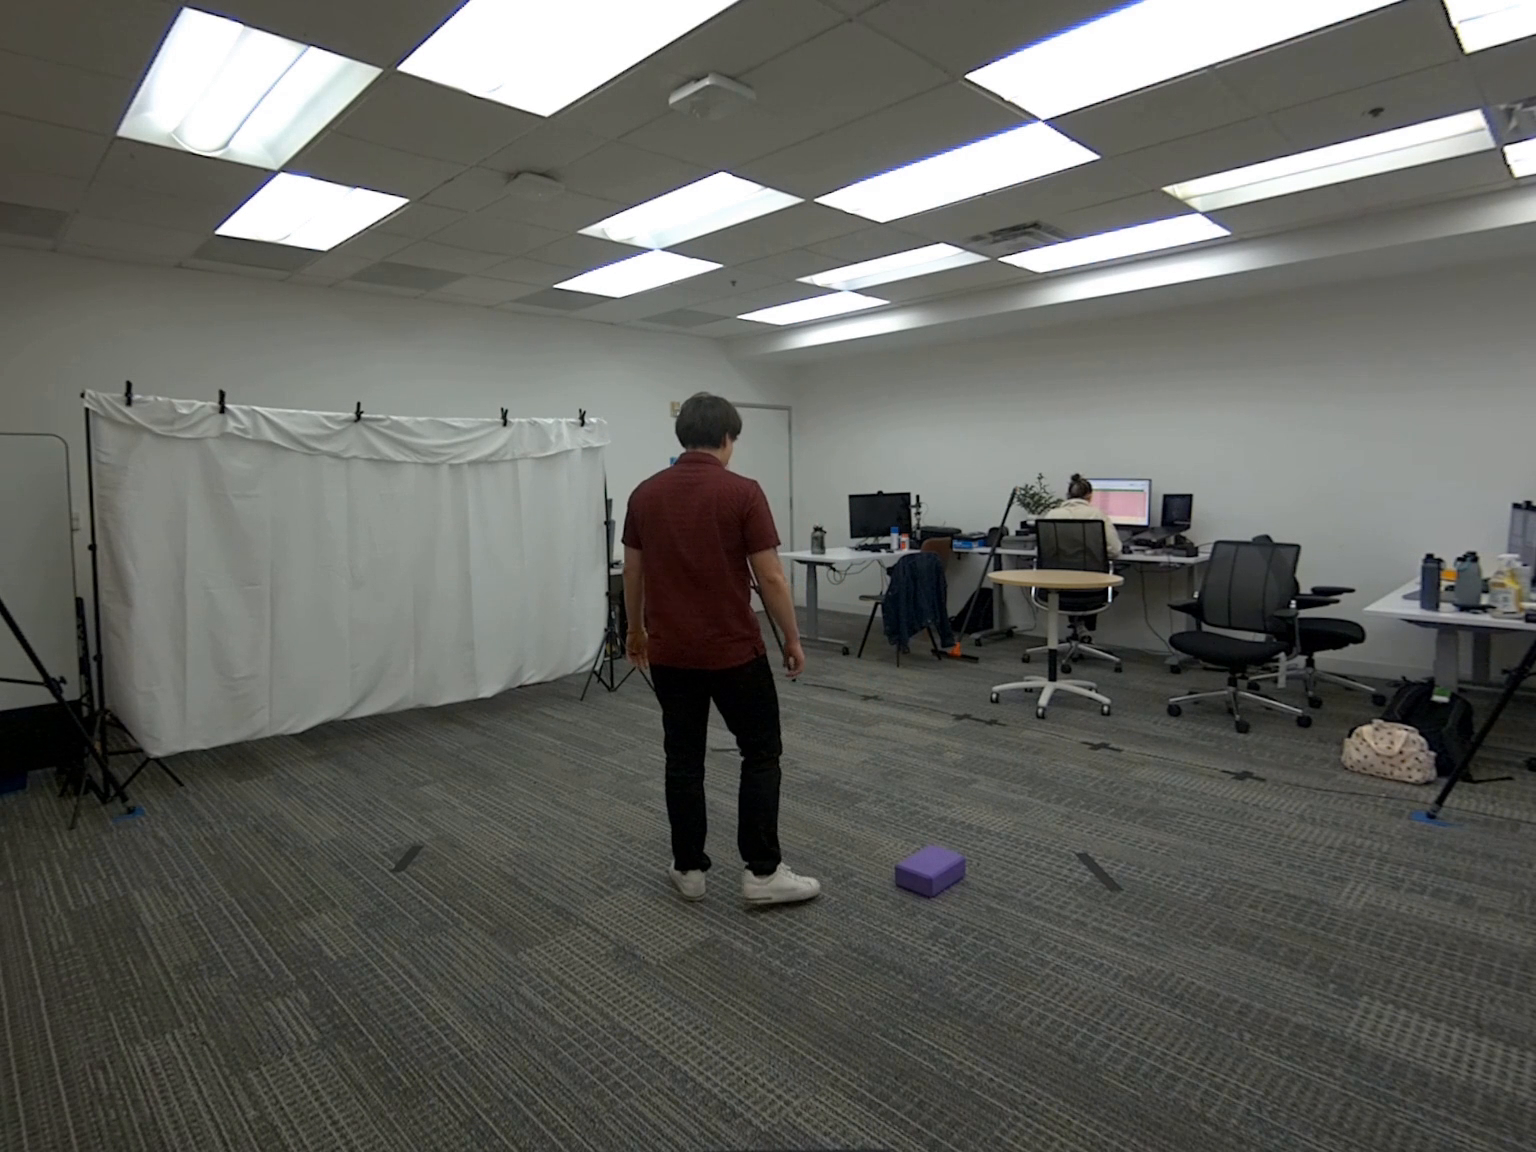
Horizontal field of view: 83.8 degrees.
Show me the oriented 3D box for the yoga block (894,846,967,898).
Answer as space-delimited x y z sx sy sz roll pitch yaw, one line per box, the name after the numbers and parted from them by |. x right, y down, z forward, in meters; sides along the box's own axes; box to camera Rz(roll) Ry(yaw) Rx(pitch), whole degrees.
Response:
0.564 1.016 2.946 0.153 0.076 0.223 4 7 43 | yoga block
